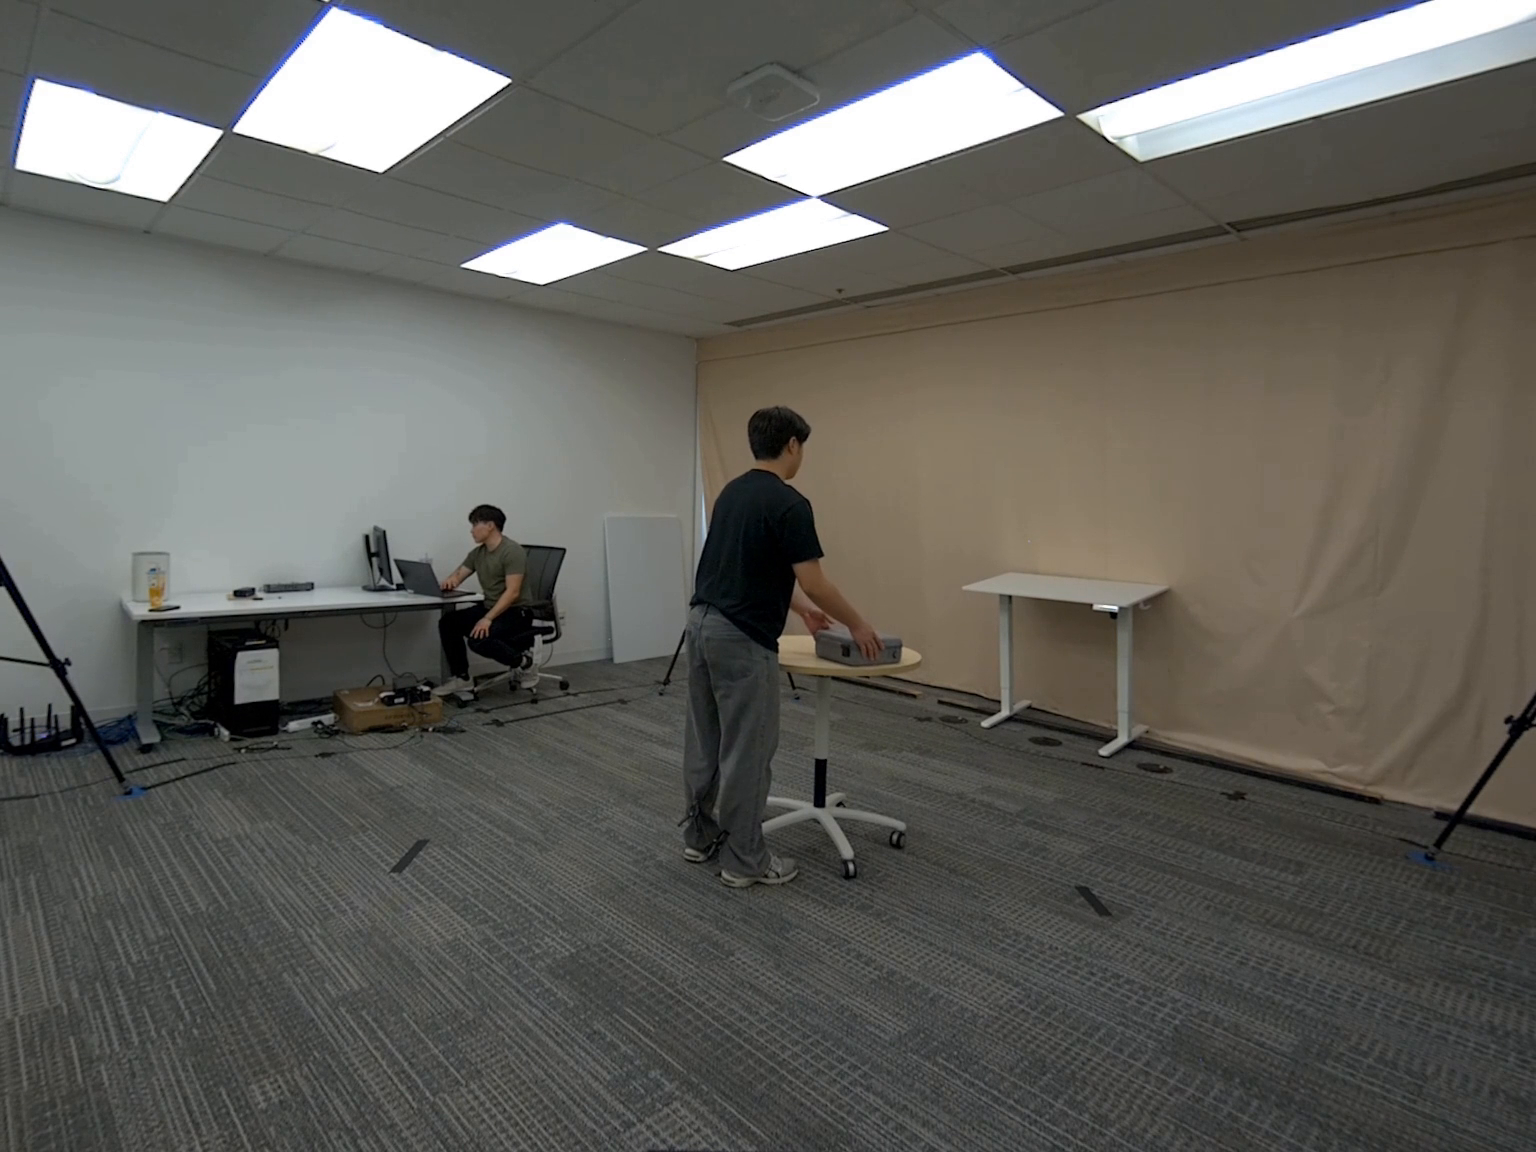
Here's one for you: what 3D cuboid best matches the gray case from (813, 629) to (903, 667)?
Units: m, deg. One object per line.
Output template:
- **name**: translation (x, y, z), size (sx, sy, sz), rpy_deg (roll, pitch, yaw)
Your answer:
- **gray case**: translation (0.354, 0.272, 3.243), size (0.281, 0.103, 0.269), rpy_deg (2, 4, -30)
